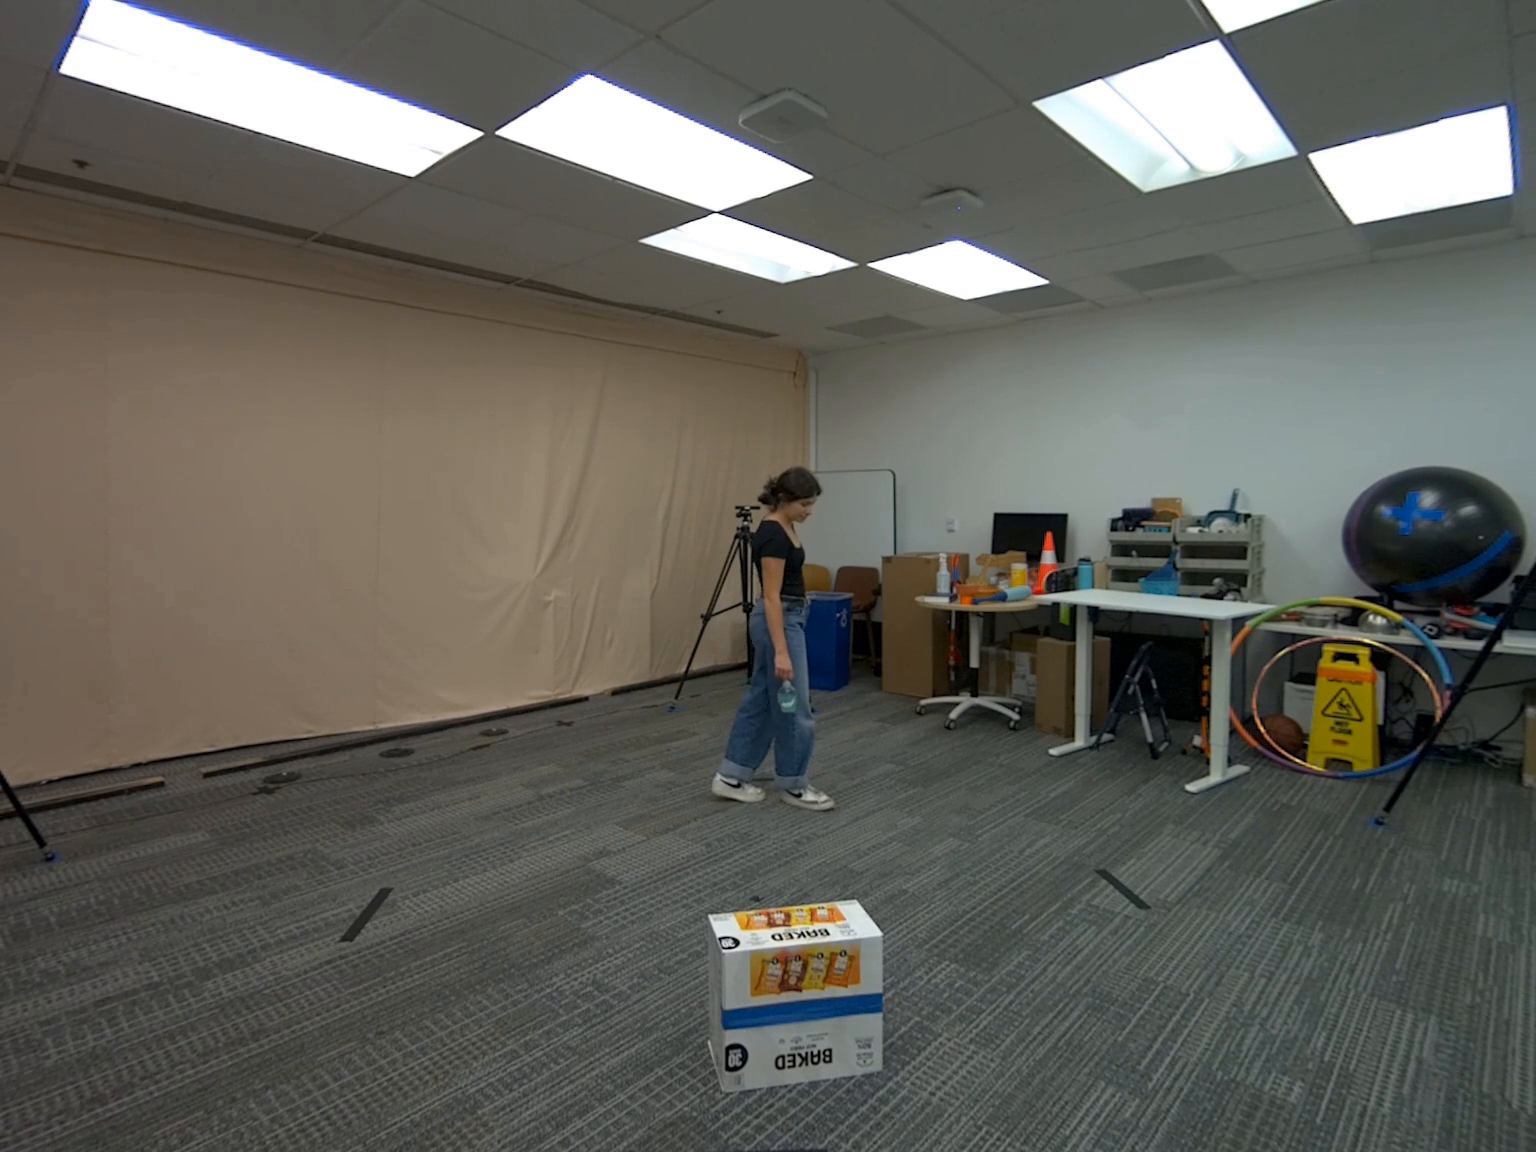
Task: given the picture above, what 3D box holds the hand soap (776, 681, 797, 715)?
[{"bbox_3d":[0.086,0.506,3.682,0.085,0.167,0.043,-1,6,5],"label":"hand soap"}]
